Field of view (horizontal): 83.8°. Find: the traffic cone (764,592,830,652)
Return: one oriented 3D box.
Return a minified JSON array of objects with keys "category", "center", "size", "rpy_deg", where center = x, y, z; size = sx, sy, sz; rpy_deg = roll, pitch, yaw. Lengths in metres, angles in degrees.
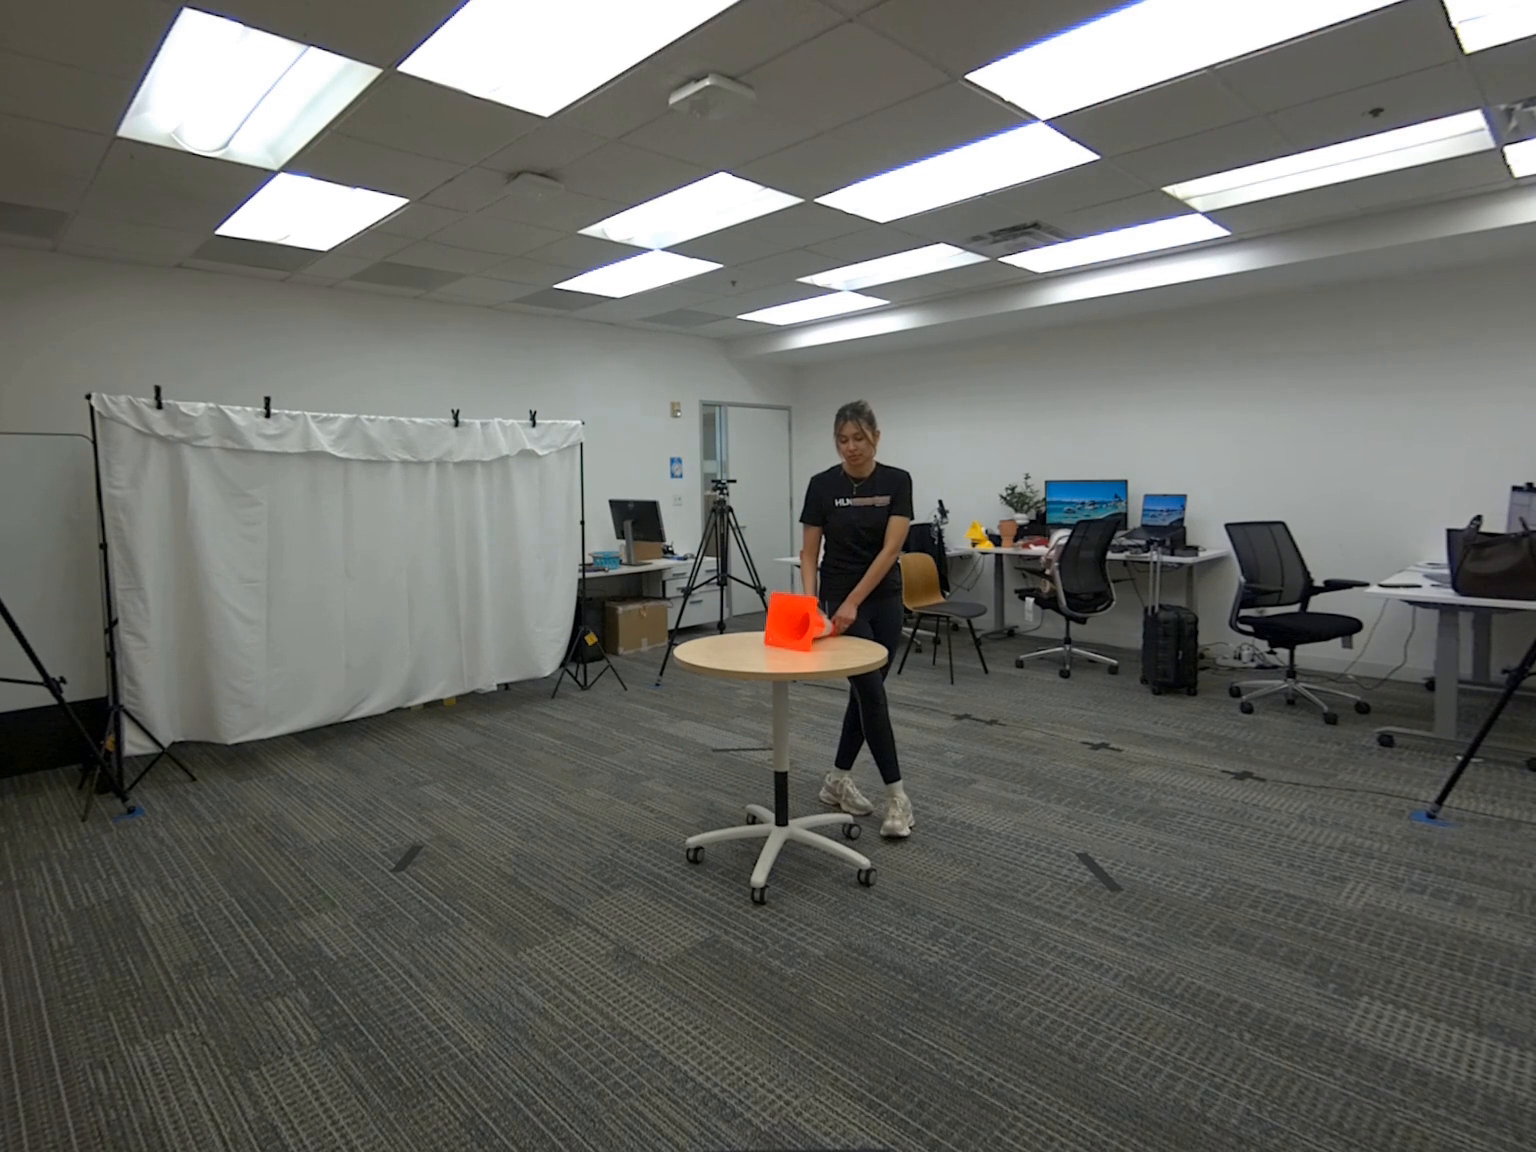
[{"category":"traffic cone","center":[0.188,0.197,3.229],"size":[0.210,0.206,0.370],"rpy_deg":[7,-6,36]}]
